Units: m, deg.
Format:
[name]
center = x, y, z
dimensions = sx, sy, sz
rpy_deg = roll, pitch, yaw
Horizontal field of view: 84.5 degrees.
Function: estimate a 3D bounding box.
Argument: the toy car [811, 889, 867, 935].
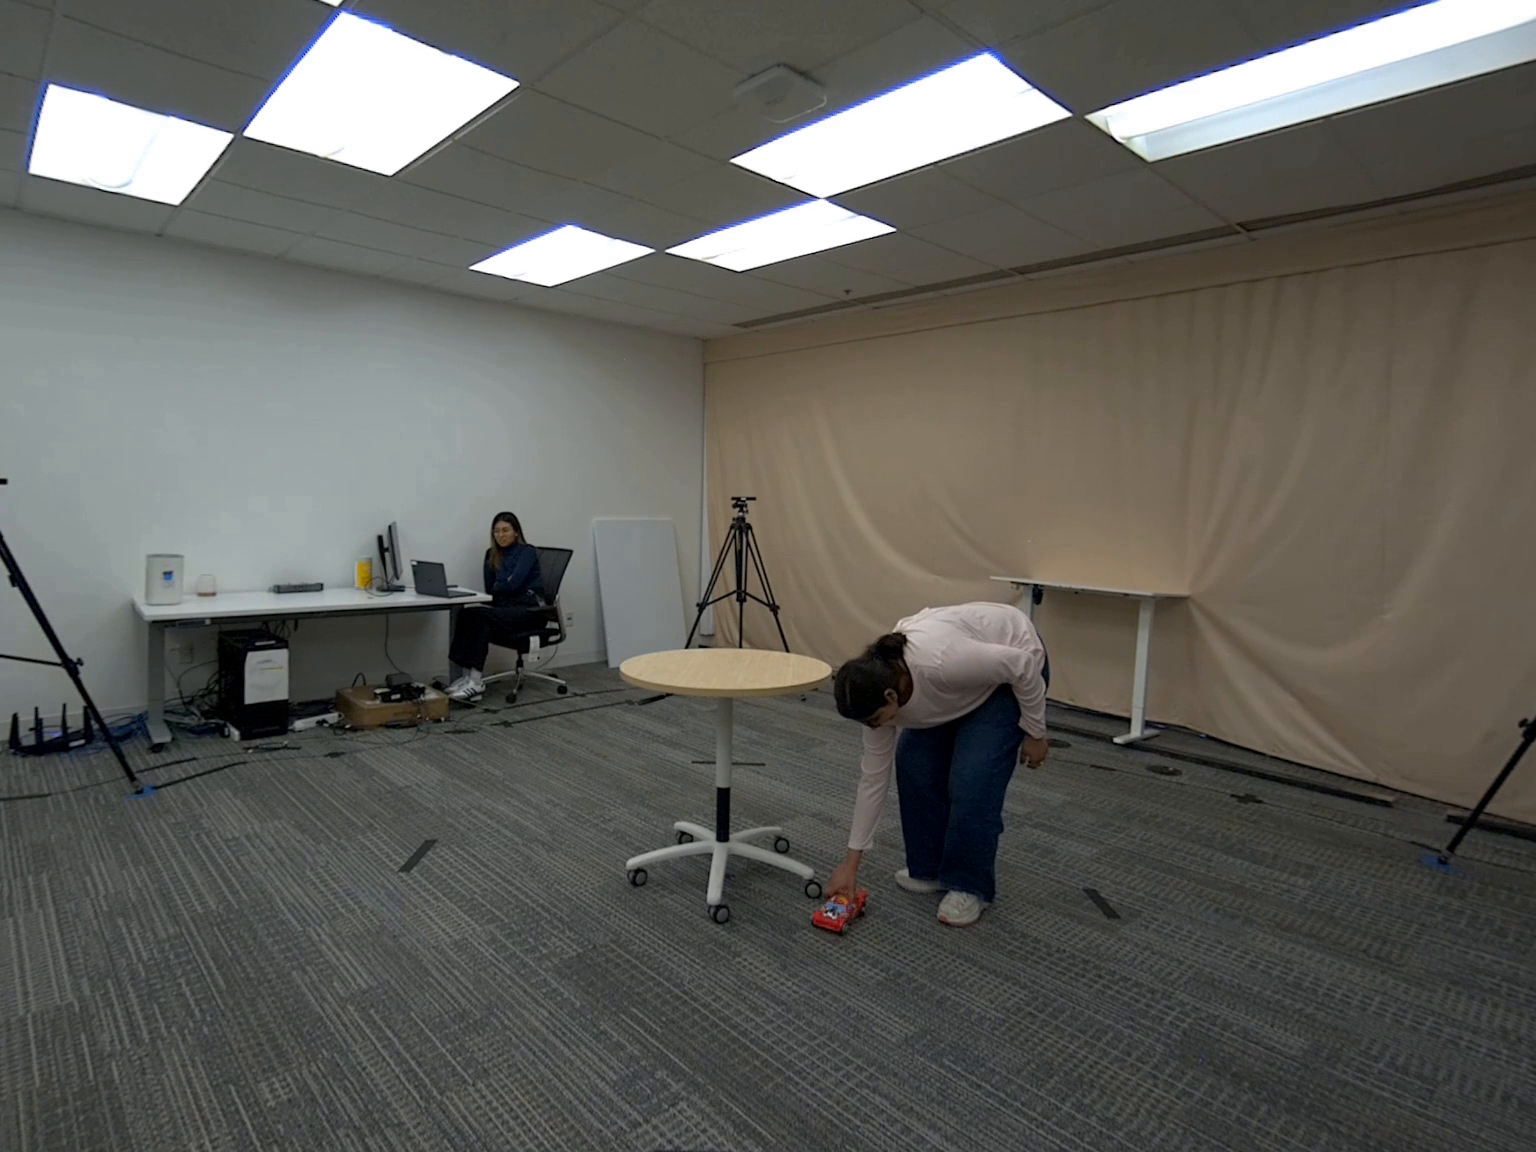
[toy car]
center = 0.244, 1.109, 2.803
dimensions = 0.133, 0.082, 0.251
rpy_deg = 4, 17, 31
